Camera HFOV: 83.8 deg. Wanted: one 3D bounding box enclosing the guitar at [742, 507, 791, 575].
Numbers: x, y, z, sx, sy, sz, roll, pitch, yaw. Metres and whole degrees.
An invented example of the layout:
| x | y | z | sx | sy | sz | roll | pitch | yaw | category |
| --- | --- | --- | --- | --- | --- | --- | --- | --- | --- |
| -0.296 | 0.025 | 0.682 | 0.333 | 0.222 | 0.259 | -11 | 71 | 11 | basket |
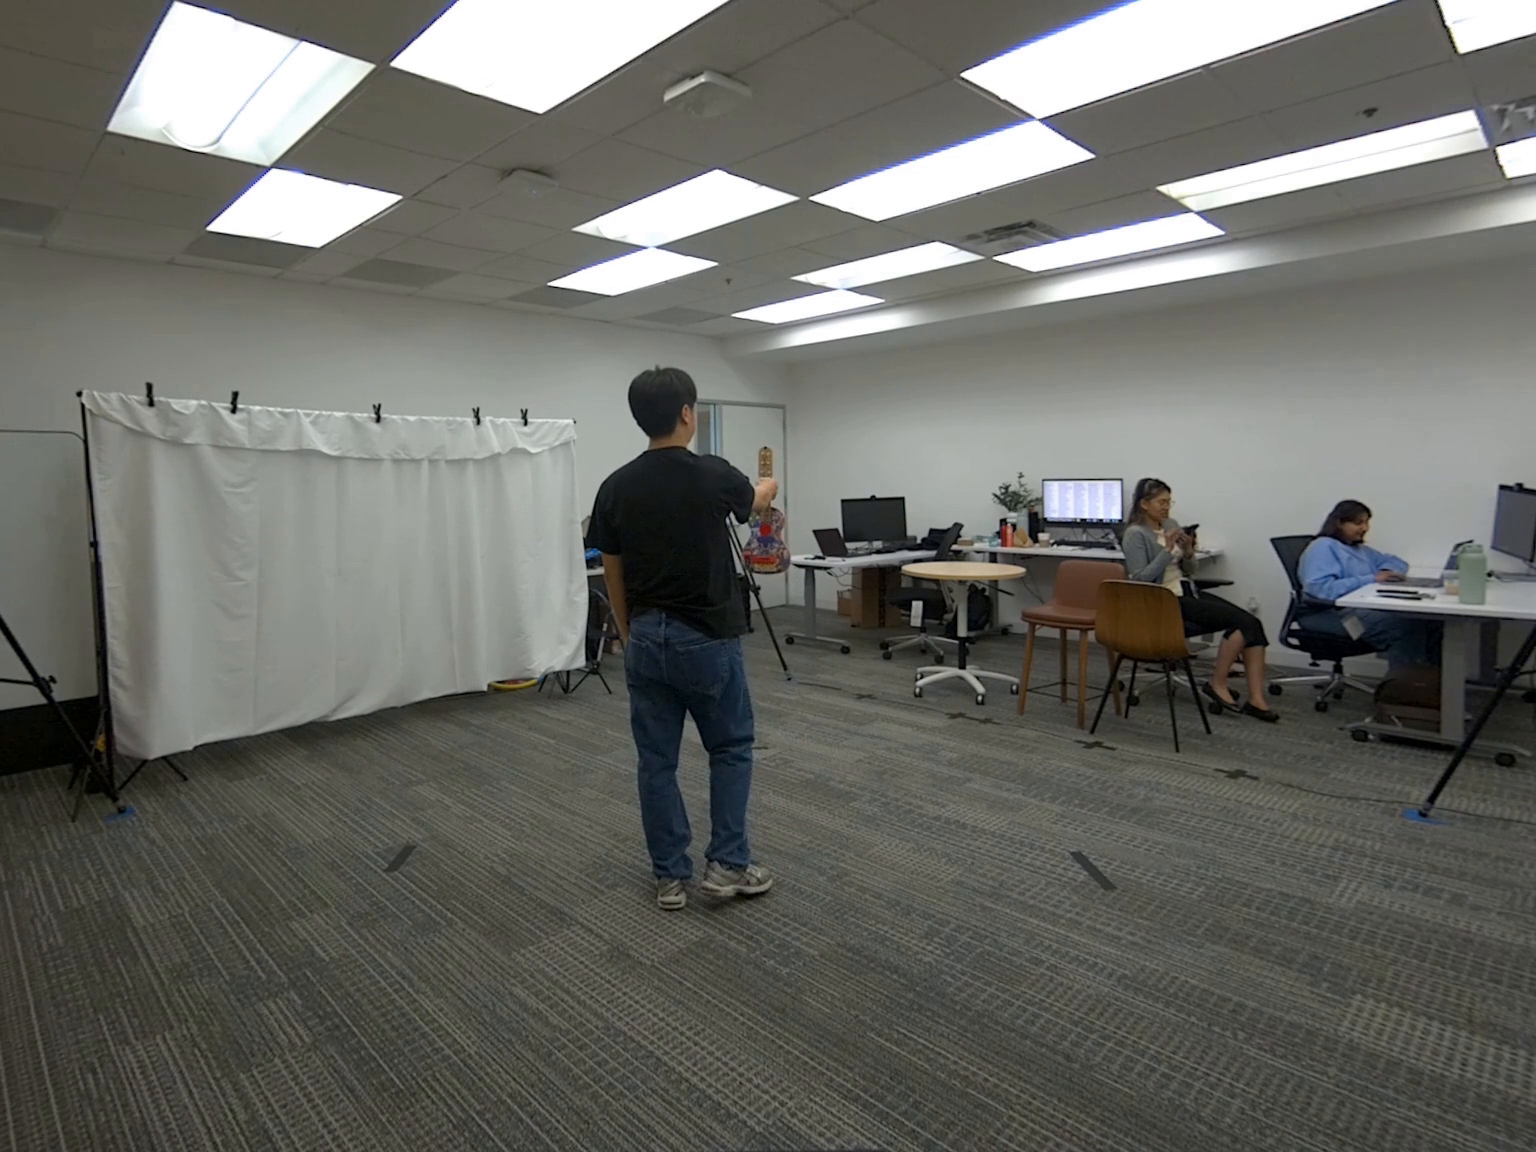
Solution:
| x | y | z | sx | sy | sz | roll | pitch | yaw | category |
| --- | --- | --- | --- | --- | --- | --- | --- | --- | --- |
| 0.024 | -0.253 | 3.376 | 0.194 | 0.498 | 0.070 | 7 | -1 | 6 | guitar |
